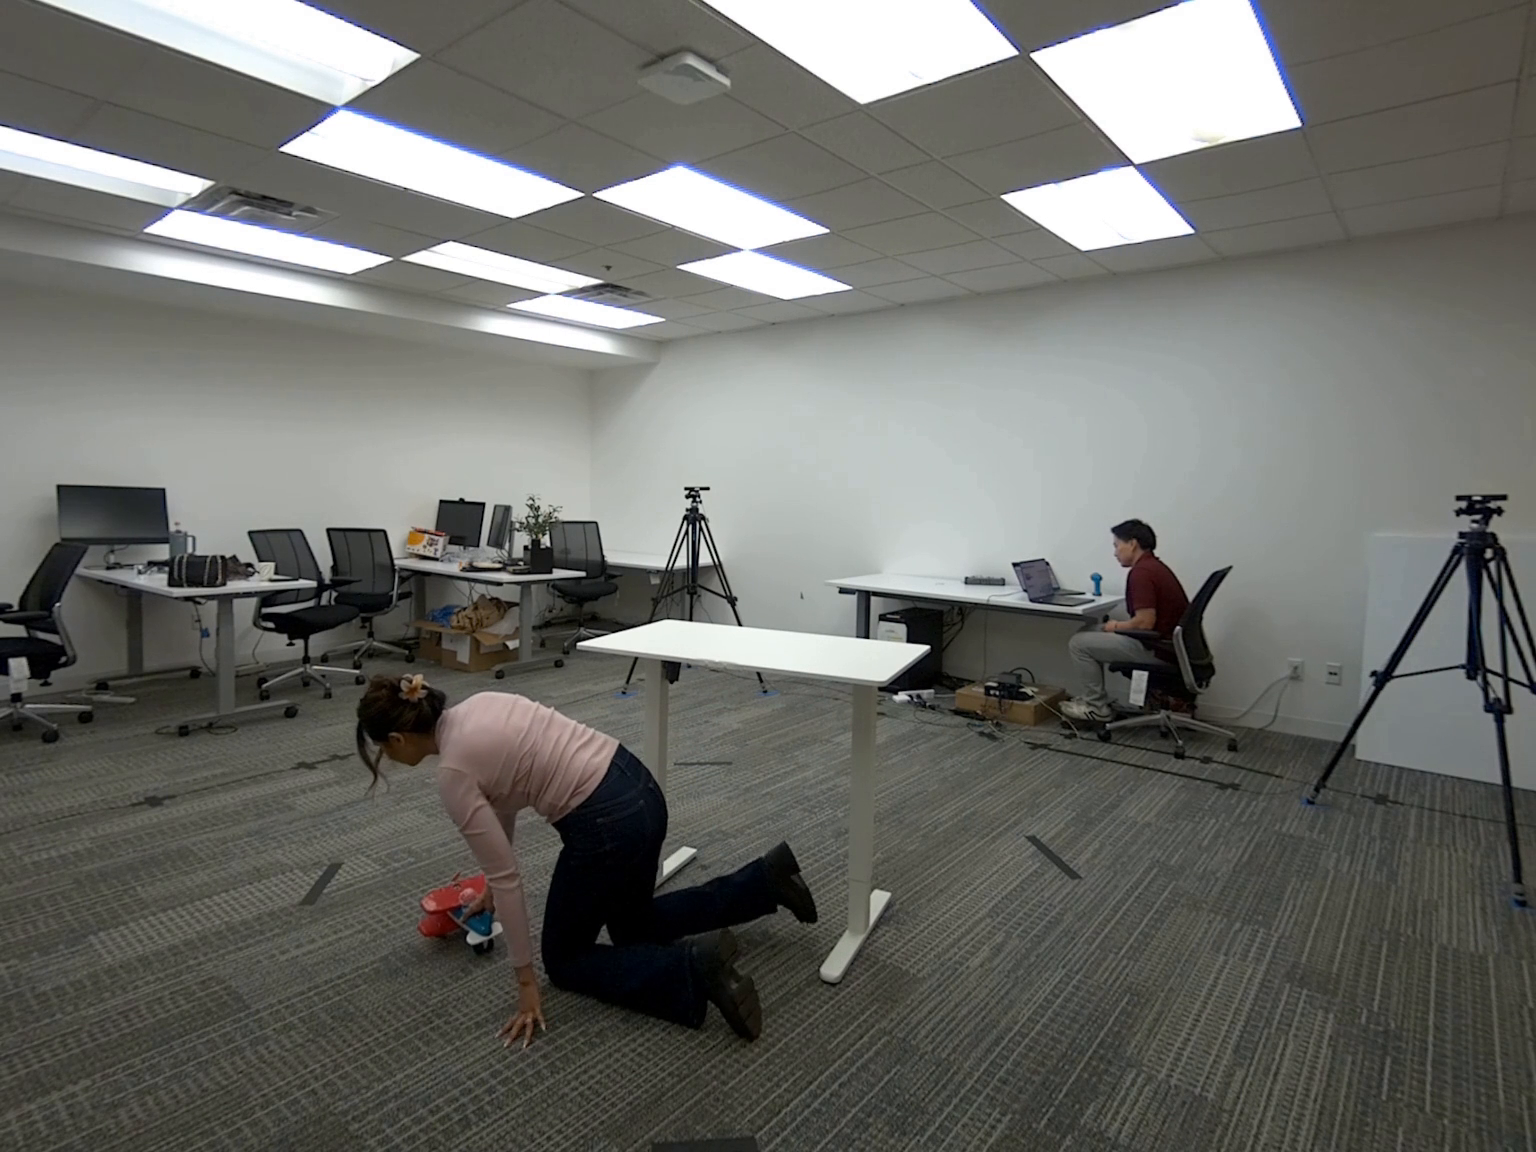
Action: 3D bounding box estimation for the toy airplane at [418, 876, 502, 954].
[{"bbox_3d":[-0.926,1.034,2.620,0.263,0.156,0.249,1,6,11],"label":"toy airplane"}]
